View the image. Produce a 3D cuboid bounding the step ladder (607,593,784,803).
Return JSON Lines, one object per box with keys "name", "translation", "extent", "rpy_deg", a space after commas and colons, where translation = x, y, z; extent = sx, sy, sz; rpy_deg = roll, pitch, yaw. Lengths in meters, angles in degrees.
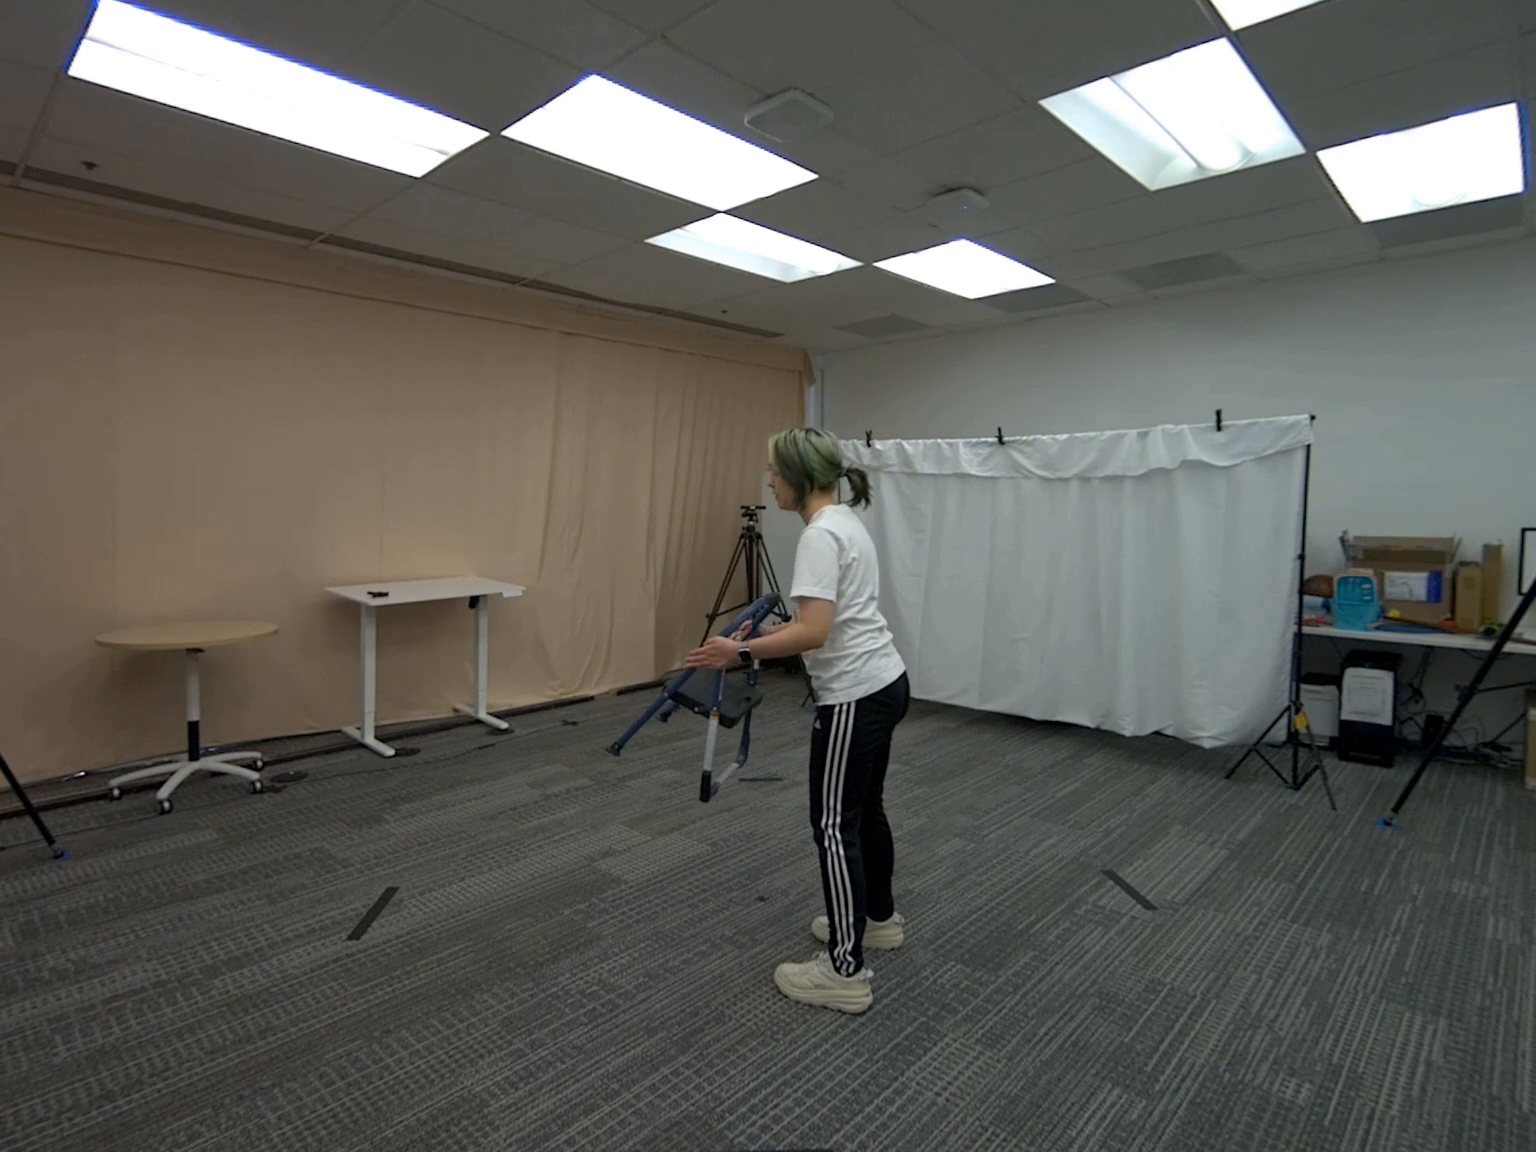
{"name": "step ladder", "translation": [-0.165, 0.308, 2.632], "extent": [0.355, 0.605, 0.424], "rpy_deg": [25, 10, 13]}
